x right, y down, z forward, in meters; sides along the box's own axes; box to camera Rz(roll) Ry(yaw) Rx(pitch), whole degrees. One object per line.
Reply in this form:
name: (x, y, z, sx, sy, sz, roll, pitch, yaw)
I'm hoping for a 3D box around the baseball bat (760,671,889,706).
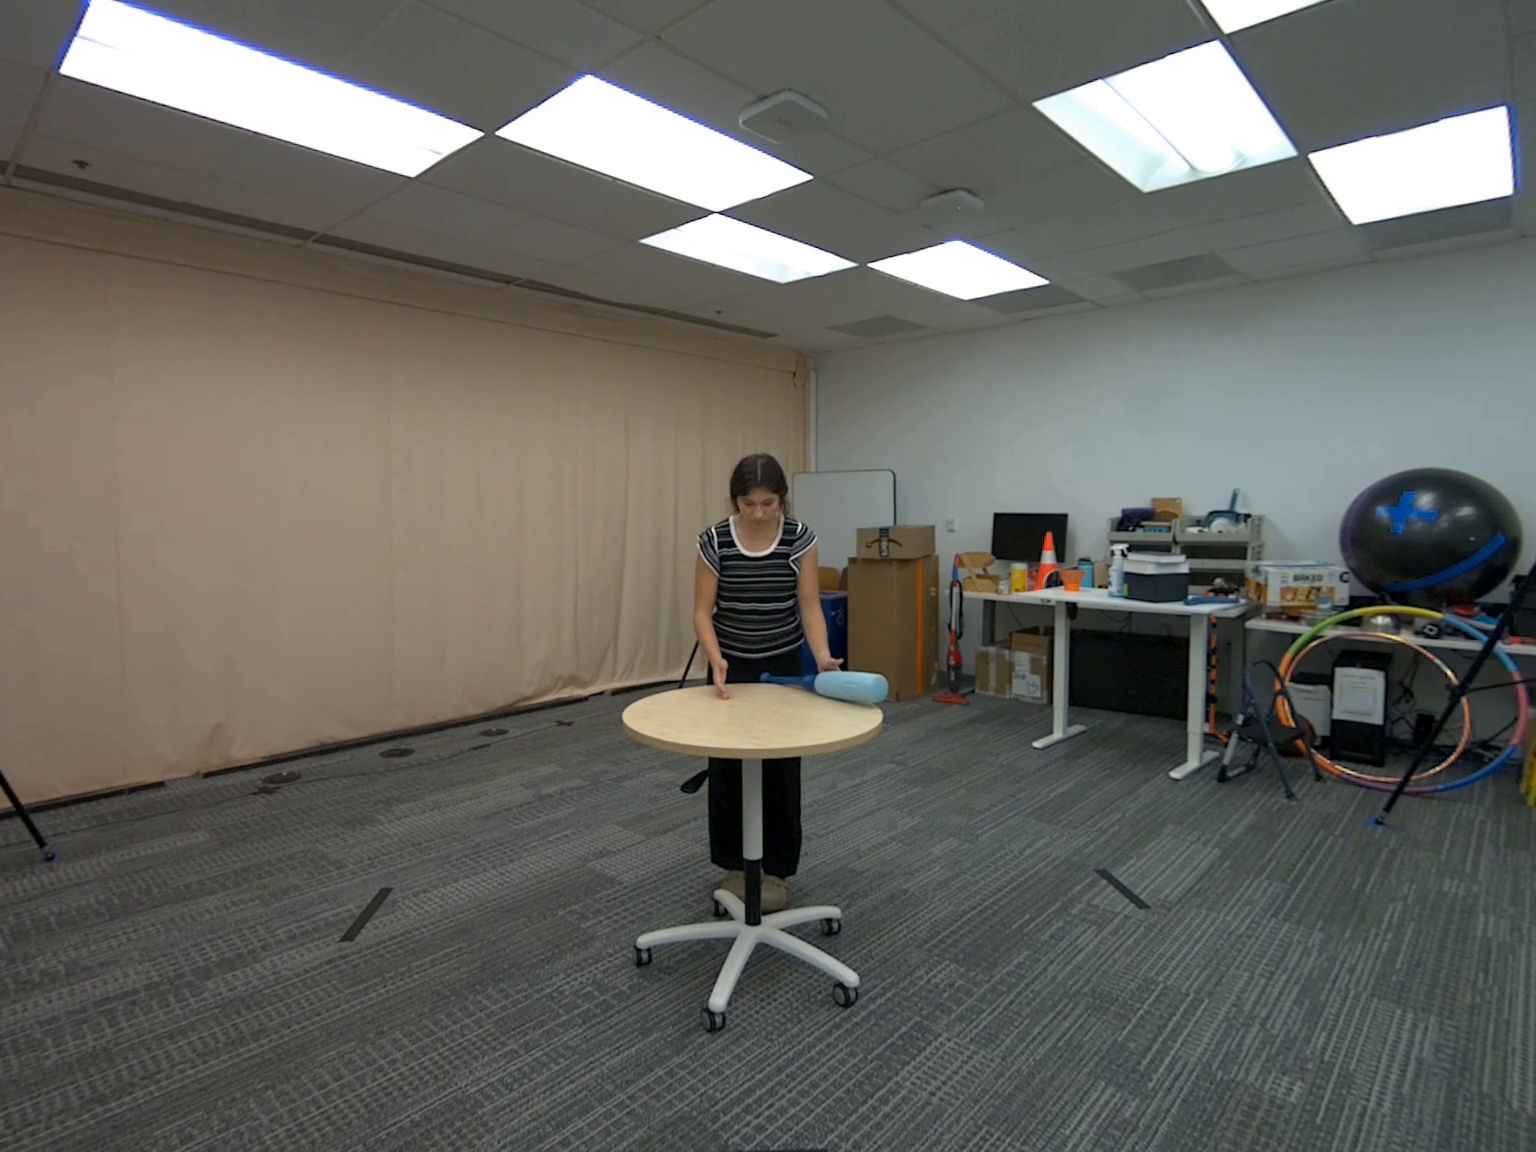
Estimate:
baseball bat: (0.137, 0.344, 2.709, 0.086, 0.089, 0.559, -3, 0, -39)
